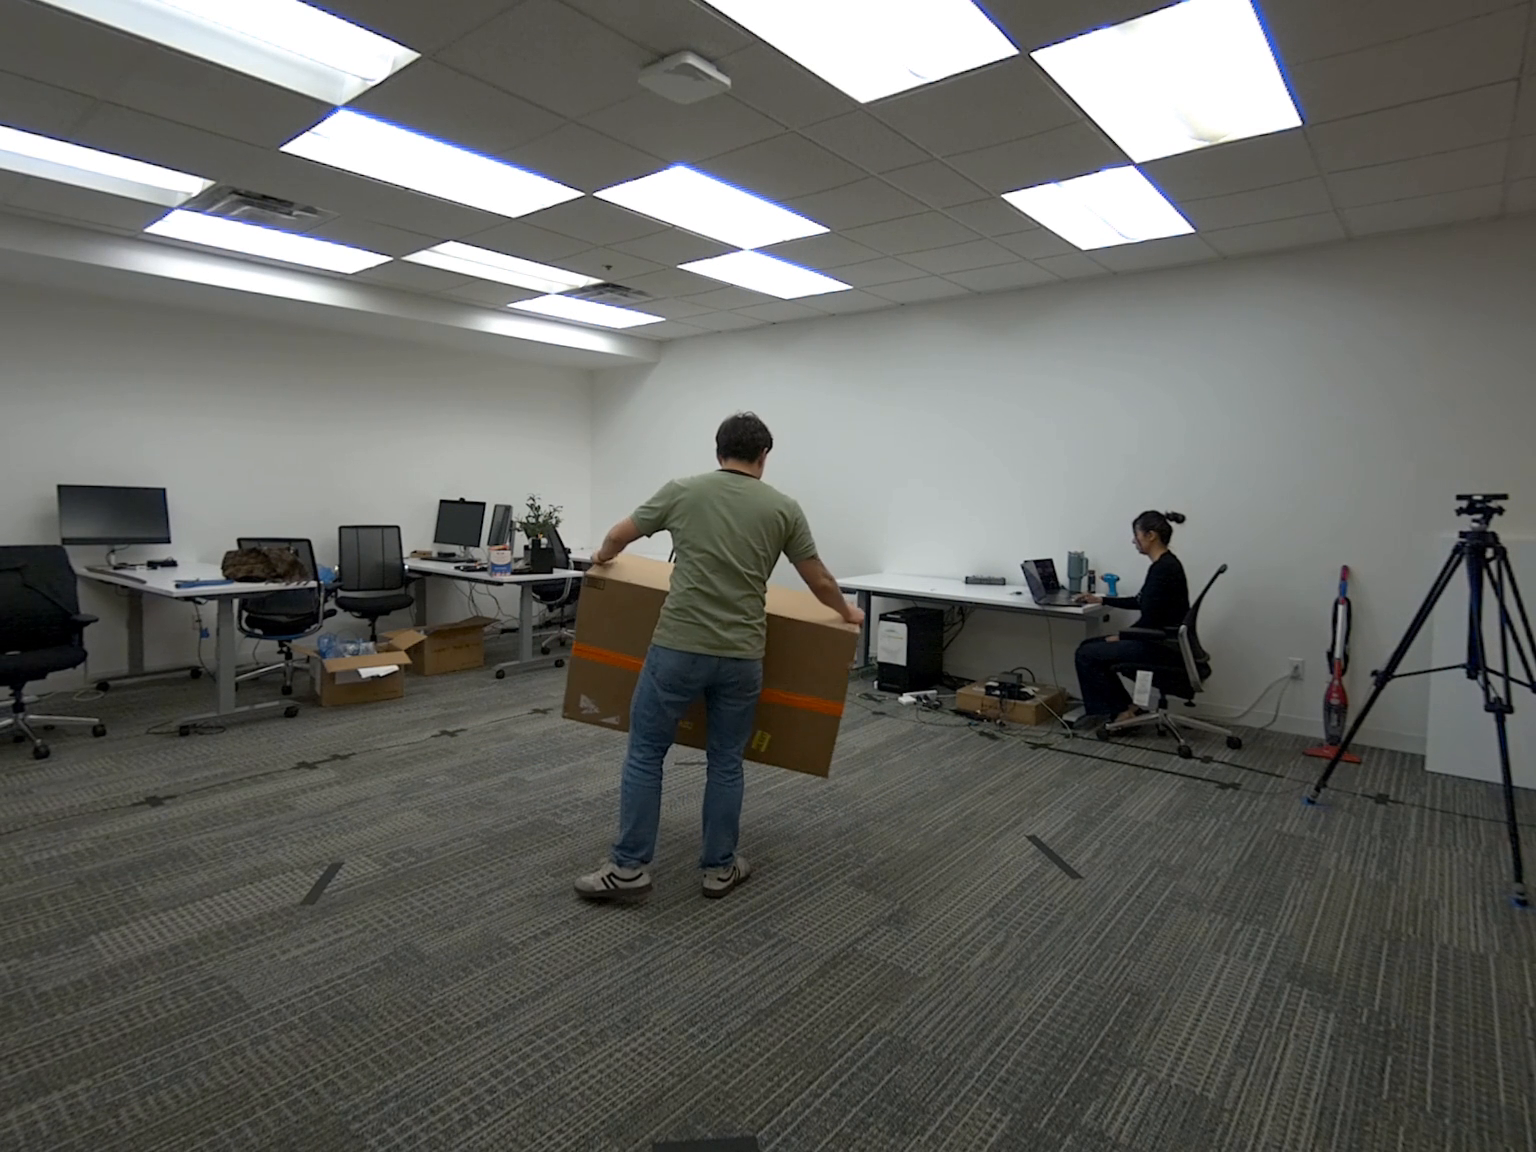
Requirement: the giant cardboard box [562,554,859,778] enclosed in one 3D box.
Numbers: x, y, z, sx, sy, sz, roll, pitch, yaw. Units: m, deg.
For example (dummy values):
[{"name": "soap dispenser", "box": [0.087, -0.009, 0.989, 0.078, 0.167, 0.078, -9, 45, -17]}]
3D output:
[{"name": "giant cardboard box", "box": [-0.225, 0.312, 3.301, 1.031, 0.572, 0.428, 12, 12, 3]}]
